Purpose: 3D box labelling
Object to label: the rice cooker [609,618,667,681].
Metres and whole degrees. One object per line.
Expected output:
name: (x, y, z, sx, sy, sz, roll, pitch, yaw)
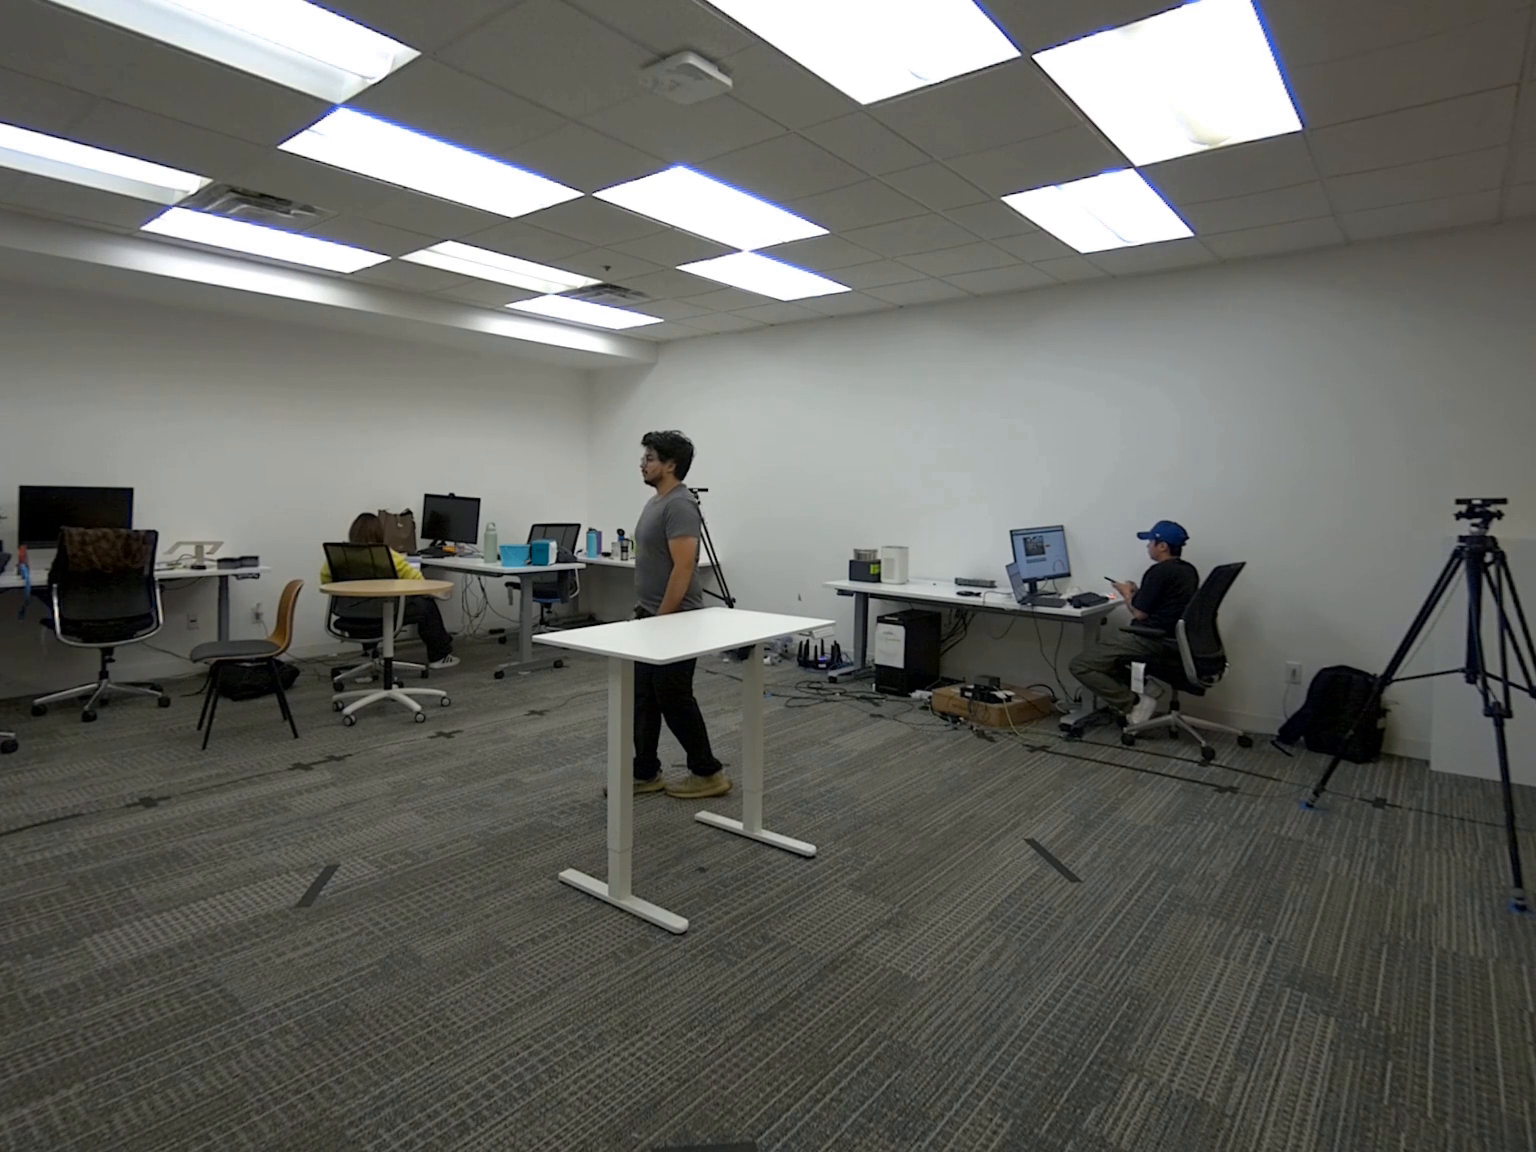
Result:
rice cooker: (-0.639, 0.354, 4.121, 0.217, 0.231, 0.223, -6, 8, -19)
